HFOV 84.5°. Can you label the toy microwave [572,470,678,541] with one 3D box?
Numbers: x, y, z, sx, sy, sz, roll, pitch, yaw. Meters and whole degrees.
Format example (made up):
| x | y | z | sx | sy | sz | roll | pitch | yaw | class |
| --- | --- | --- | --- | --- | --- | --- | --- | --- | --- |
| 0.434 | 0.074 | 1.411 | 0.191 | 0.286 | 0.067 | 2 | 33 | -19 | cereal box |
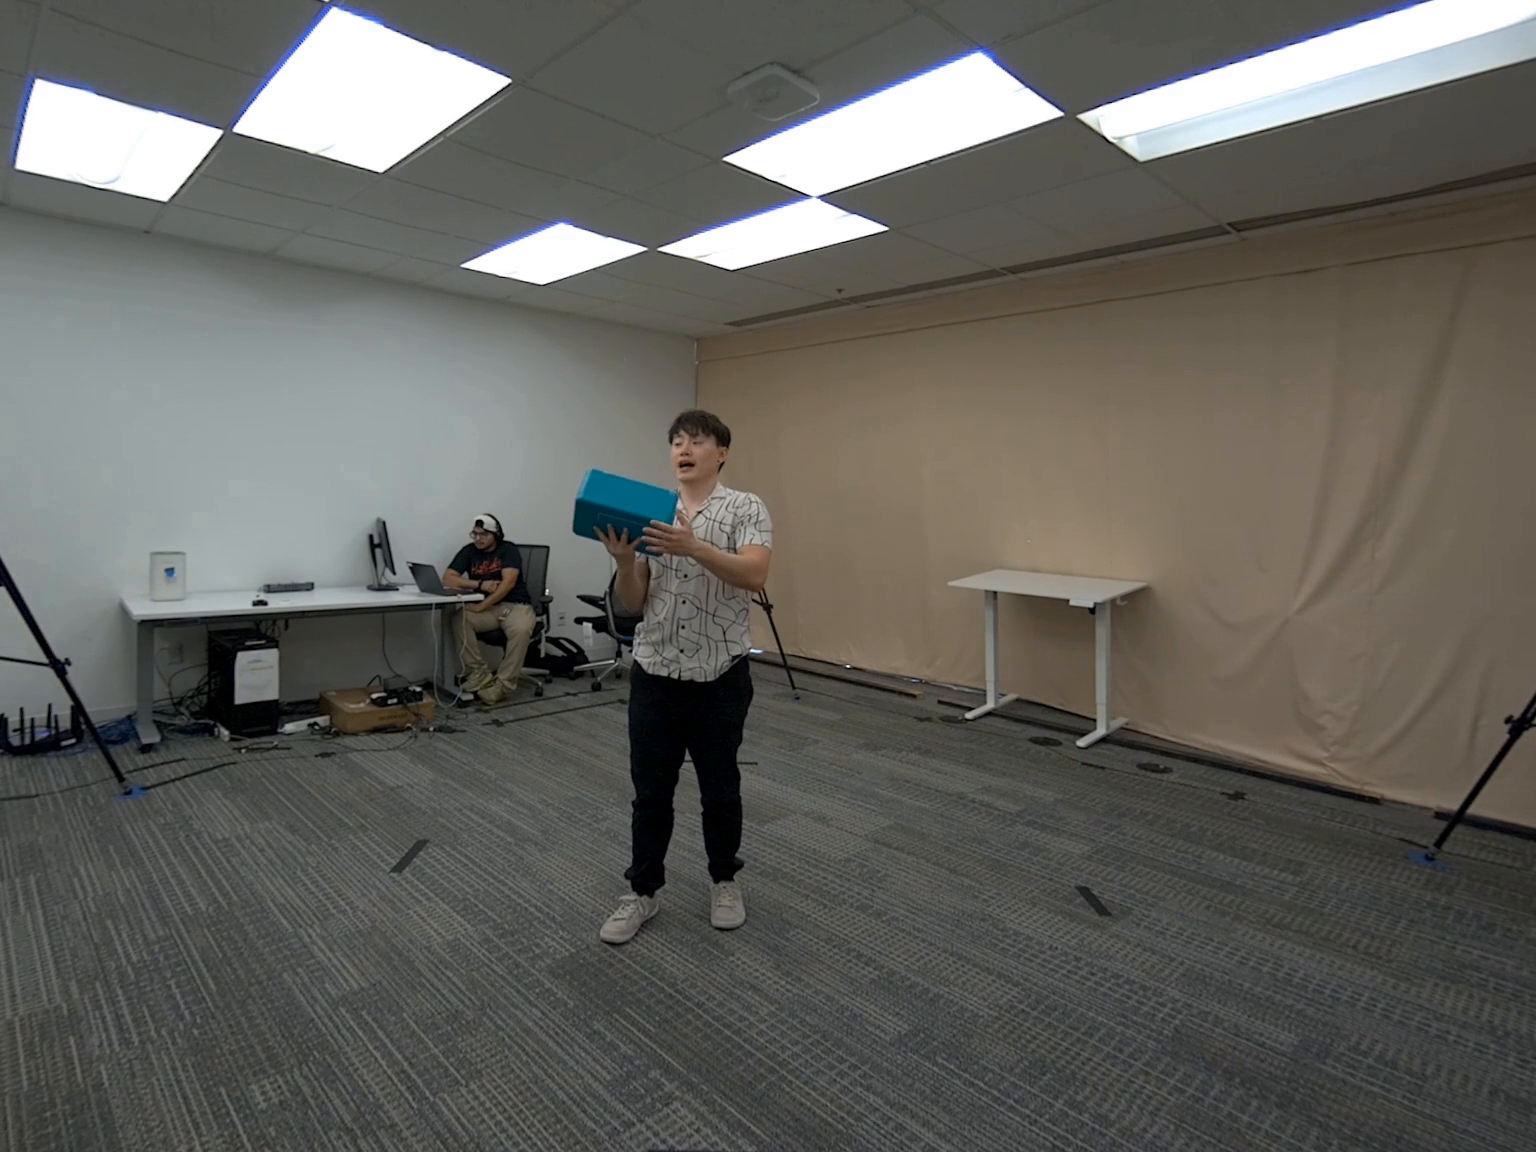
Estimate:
| x | y | z | sx | sy | sz | roll | pitch | yaw | class |
| --- | --- | --- | --- | --- | --- | --- | --- | --- | --- |
| -0.424 | -0.188 | 2.467 | 0.285 | 0.155 | 0.182 | 16 | -38 | -4 | toy microwave |
